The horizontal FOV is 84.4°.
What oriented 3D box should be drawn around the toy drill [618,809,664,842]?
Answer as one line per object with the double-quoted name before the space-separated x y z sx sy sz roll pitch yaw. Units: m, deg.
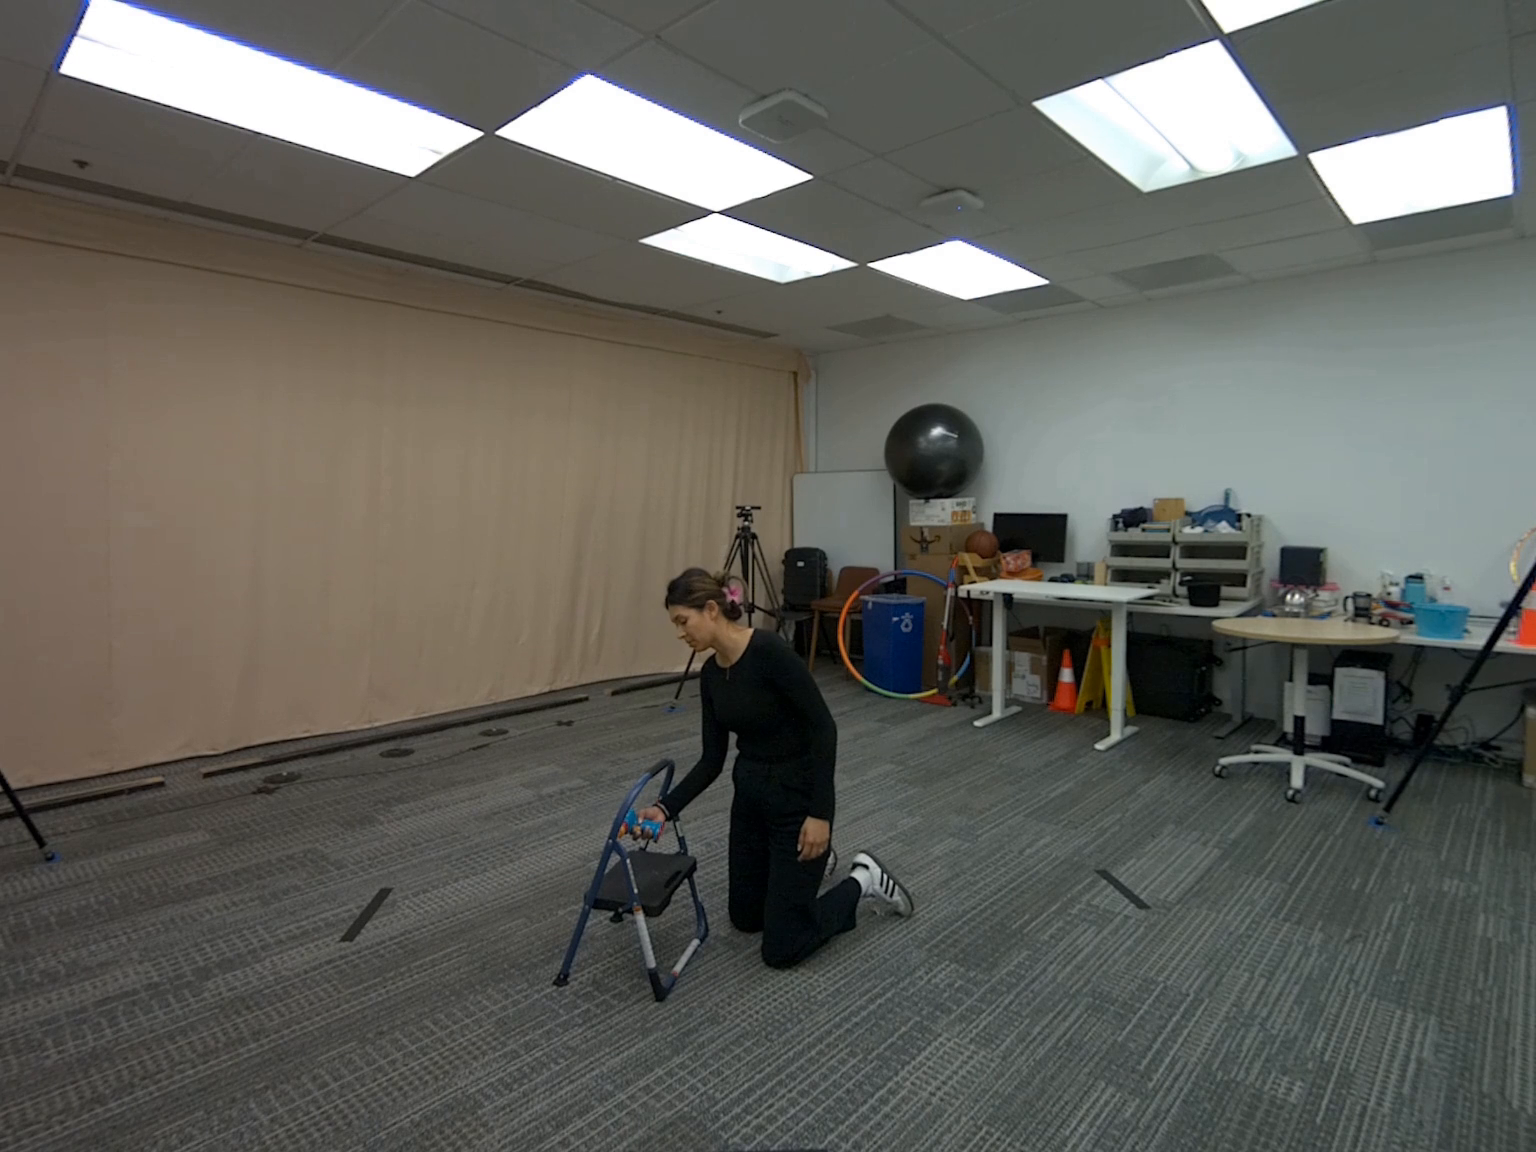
"toy drill" -0.389 0.761 2.465 0.149 0.061 0.167 18 17 17
